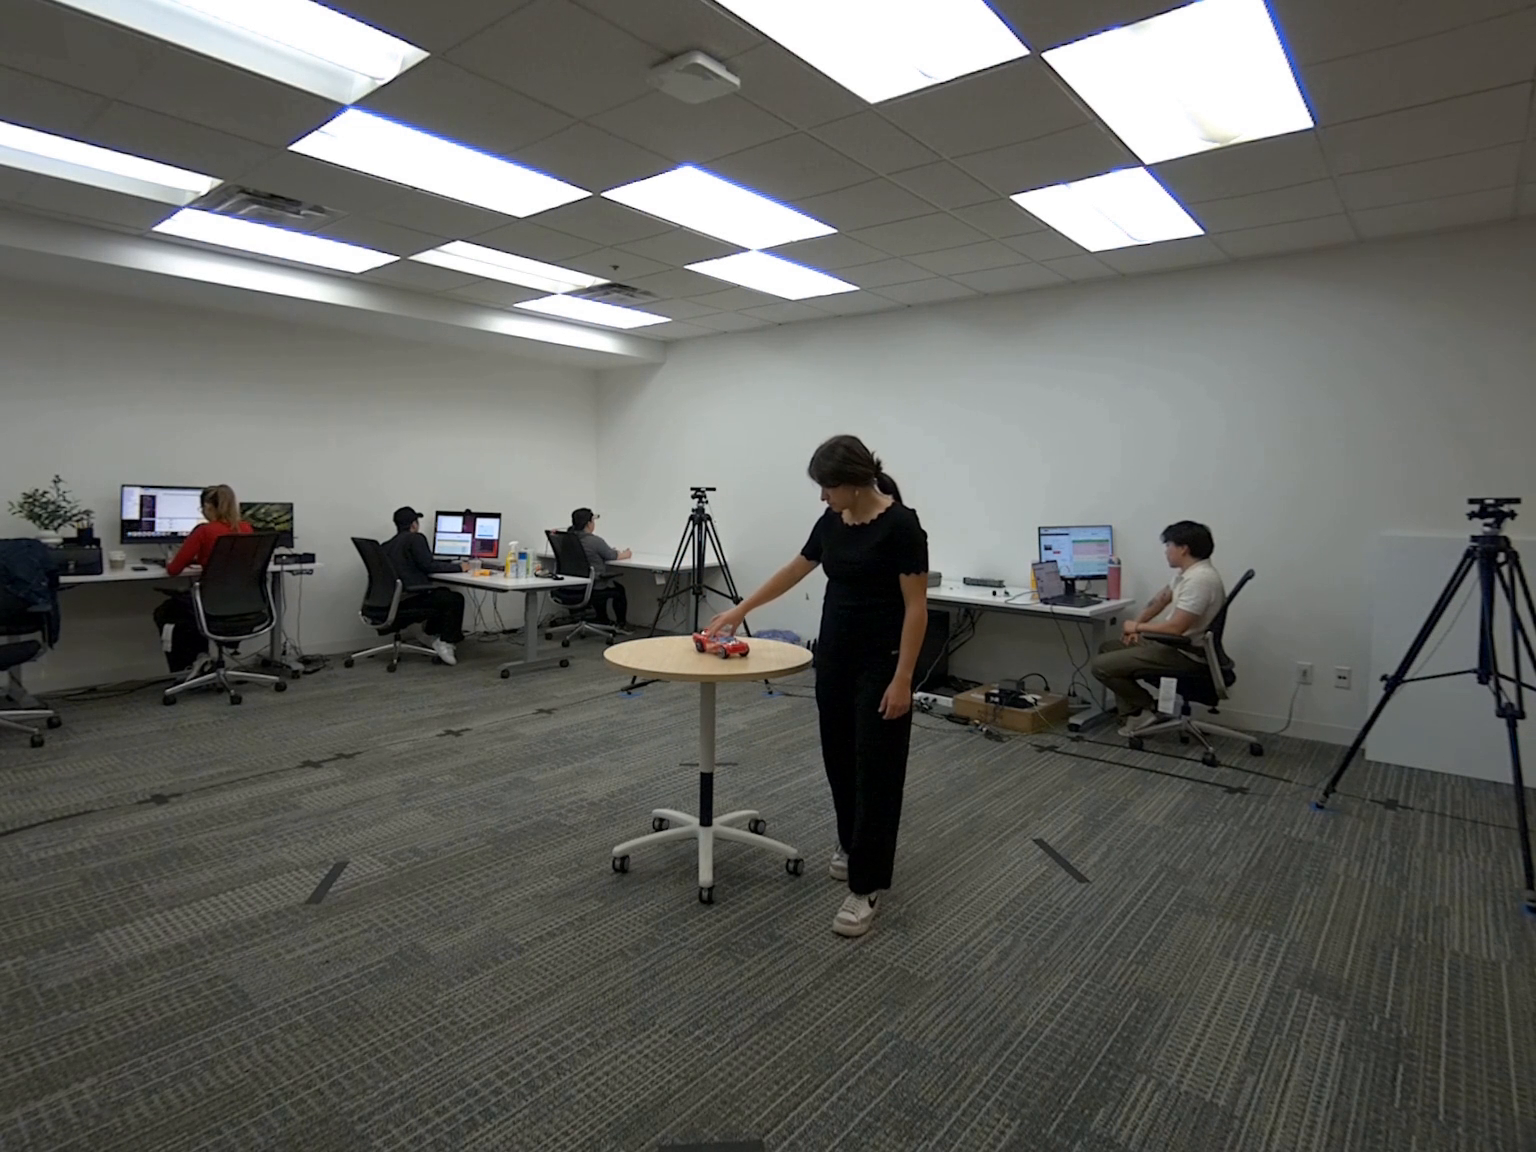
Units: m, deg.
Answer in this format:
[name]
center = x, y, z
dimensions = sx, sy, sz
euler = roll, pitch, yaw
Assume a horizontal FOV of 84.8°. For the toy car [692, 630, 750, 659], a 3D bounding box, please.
[toy car]
center = -0.192, 0.249, 3.128
dimensions = 0.126, 0.082, 0.265
euler = -3, 17, -36
